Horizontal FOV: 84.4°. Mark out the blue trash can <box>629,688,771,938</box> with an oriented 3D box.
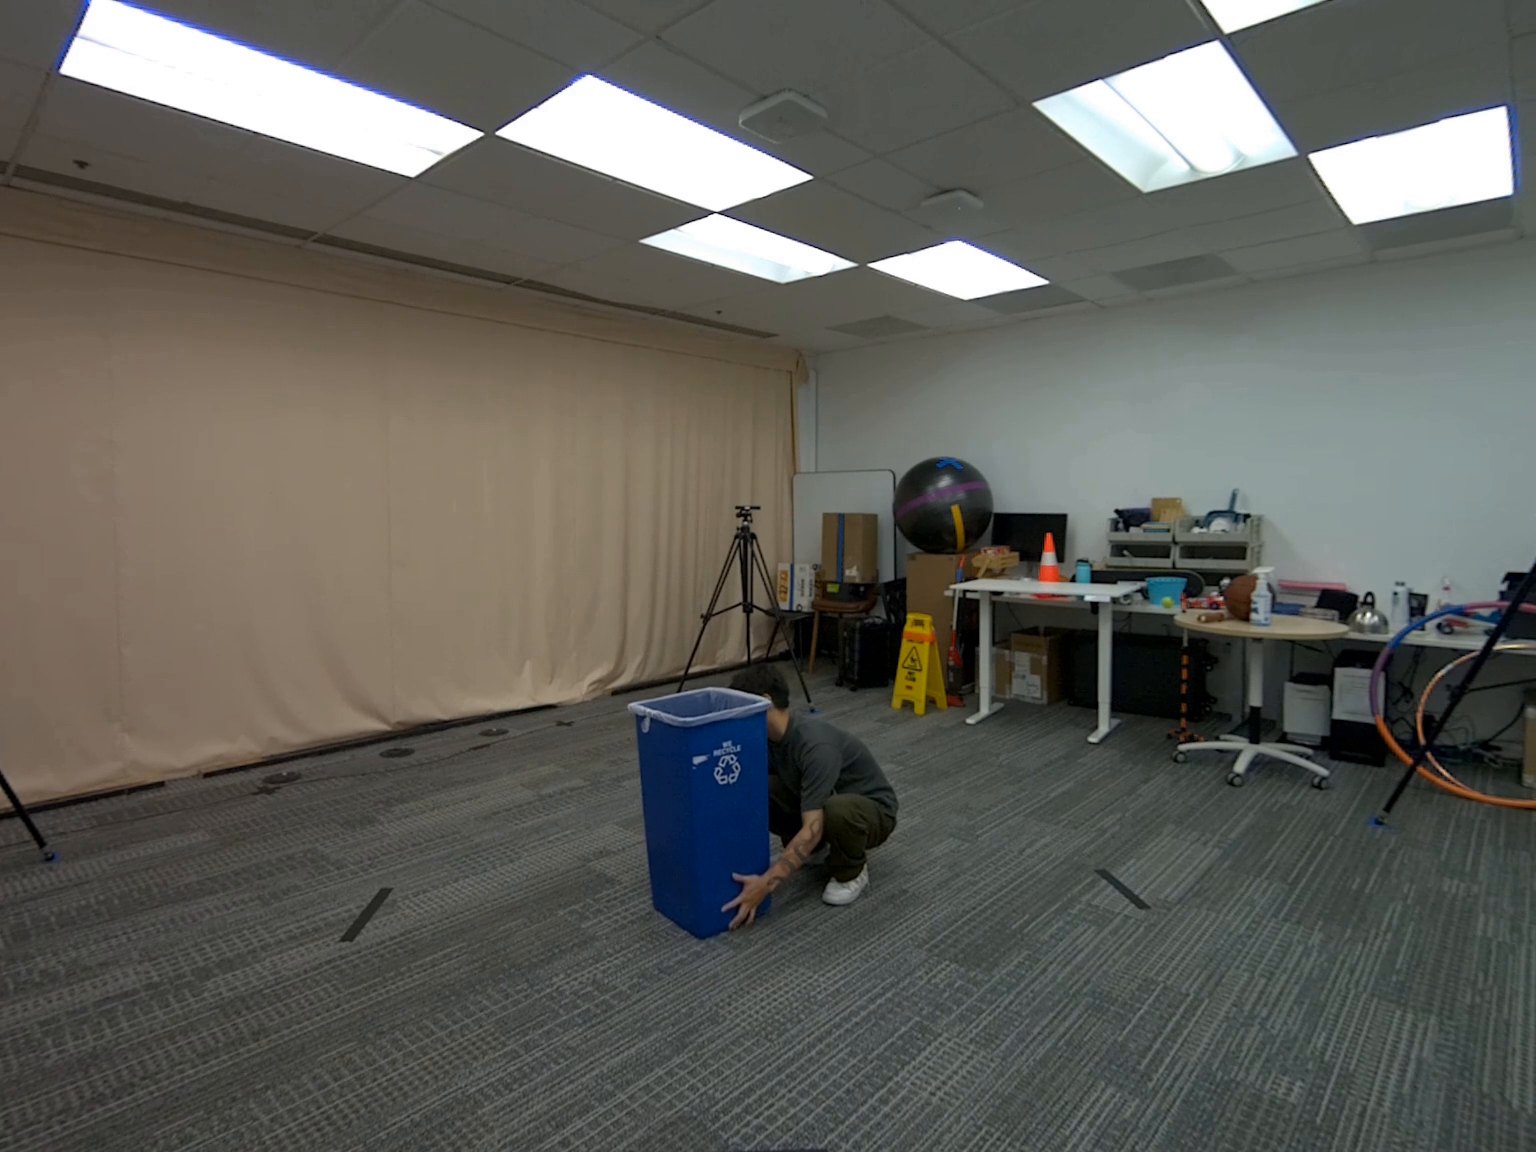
[{"bbox_3d":[-0.204,0.783,2.874,0.367,0.712,0.385,-5,3,-37],"label":"blue trash can"}]
